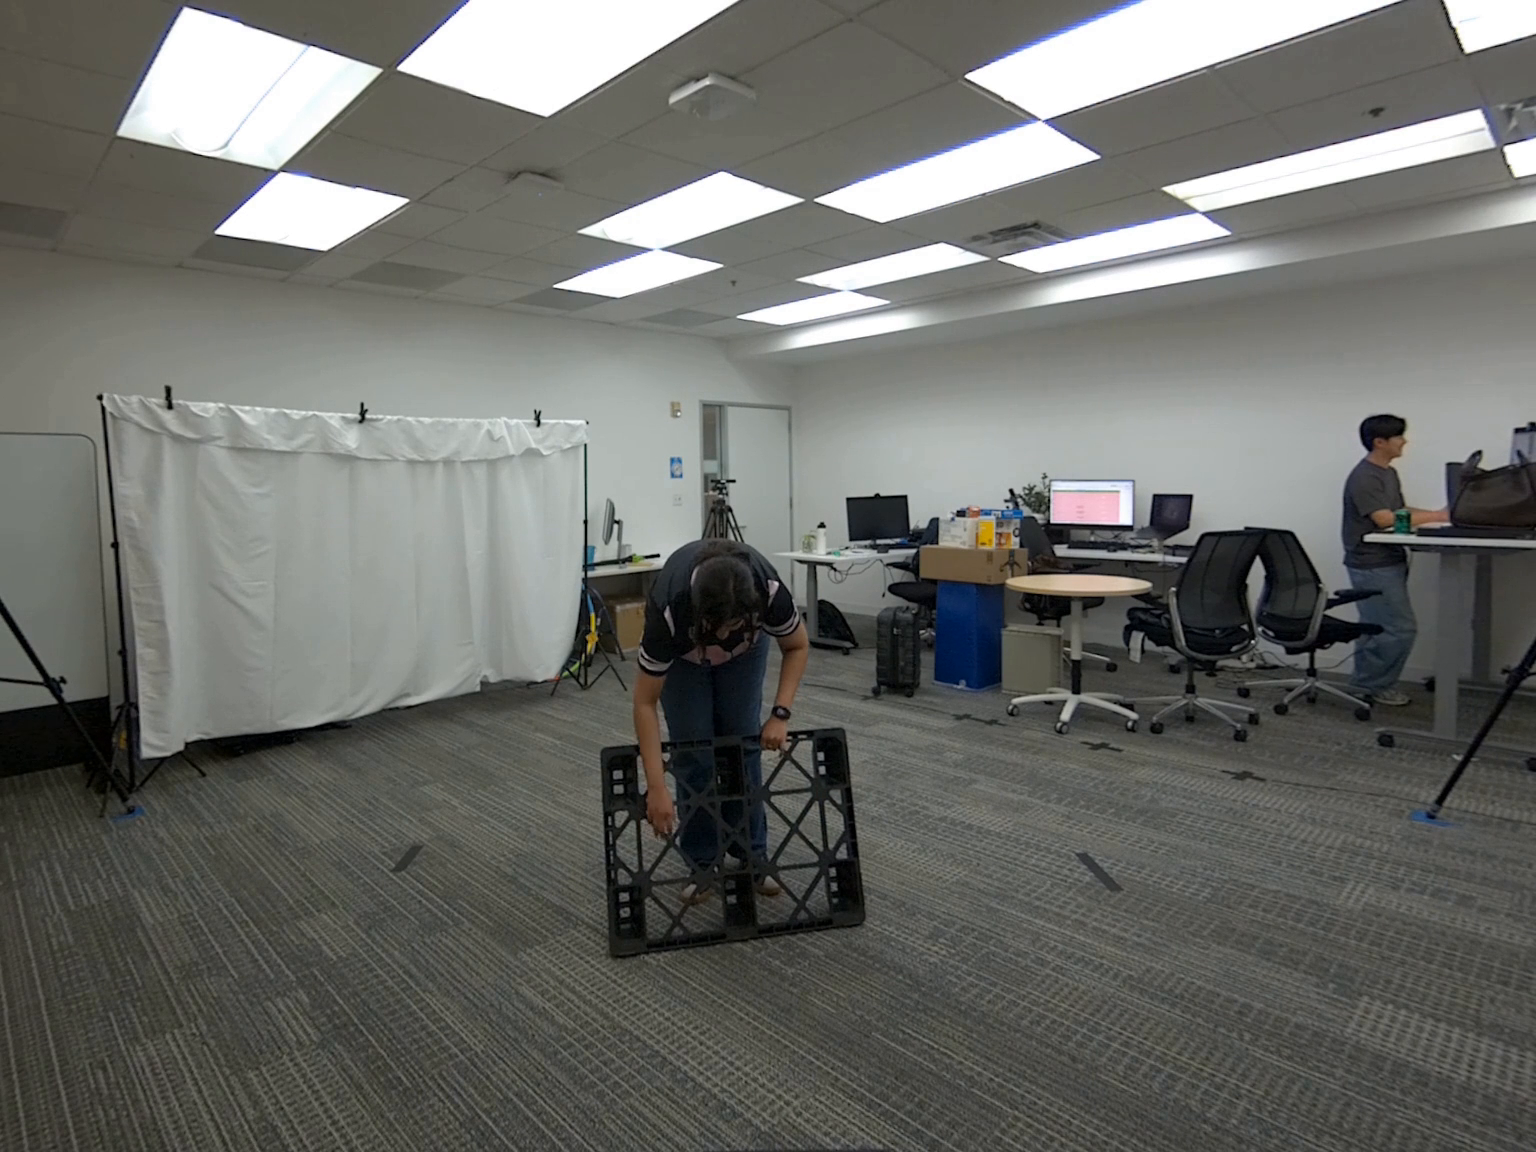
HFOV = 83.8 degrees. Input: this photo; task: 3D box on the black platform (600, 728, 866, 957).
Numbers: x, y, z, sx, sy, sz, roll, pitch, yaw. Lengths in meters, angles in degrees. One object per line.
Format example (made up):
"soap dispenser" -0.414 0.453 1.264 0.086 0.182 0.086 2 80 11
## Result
"black platform" -0.112 0.822 2.706 0.797 0.612 0.143 -2 -12 -11
